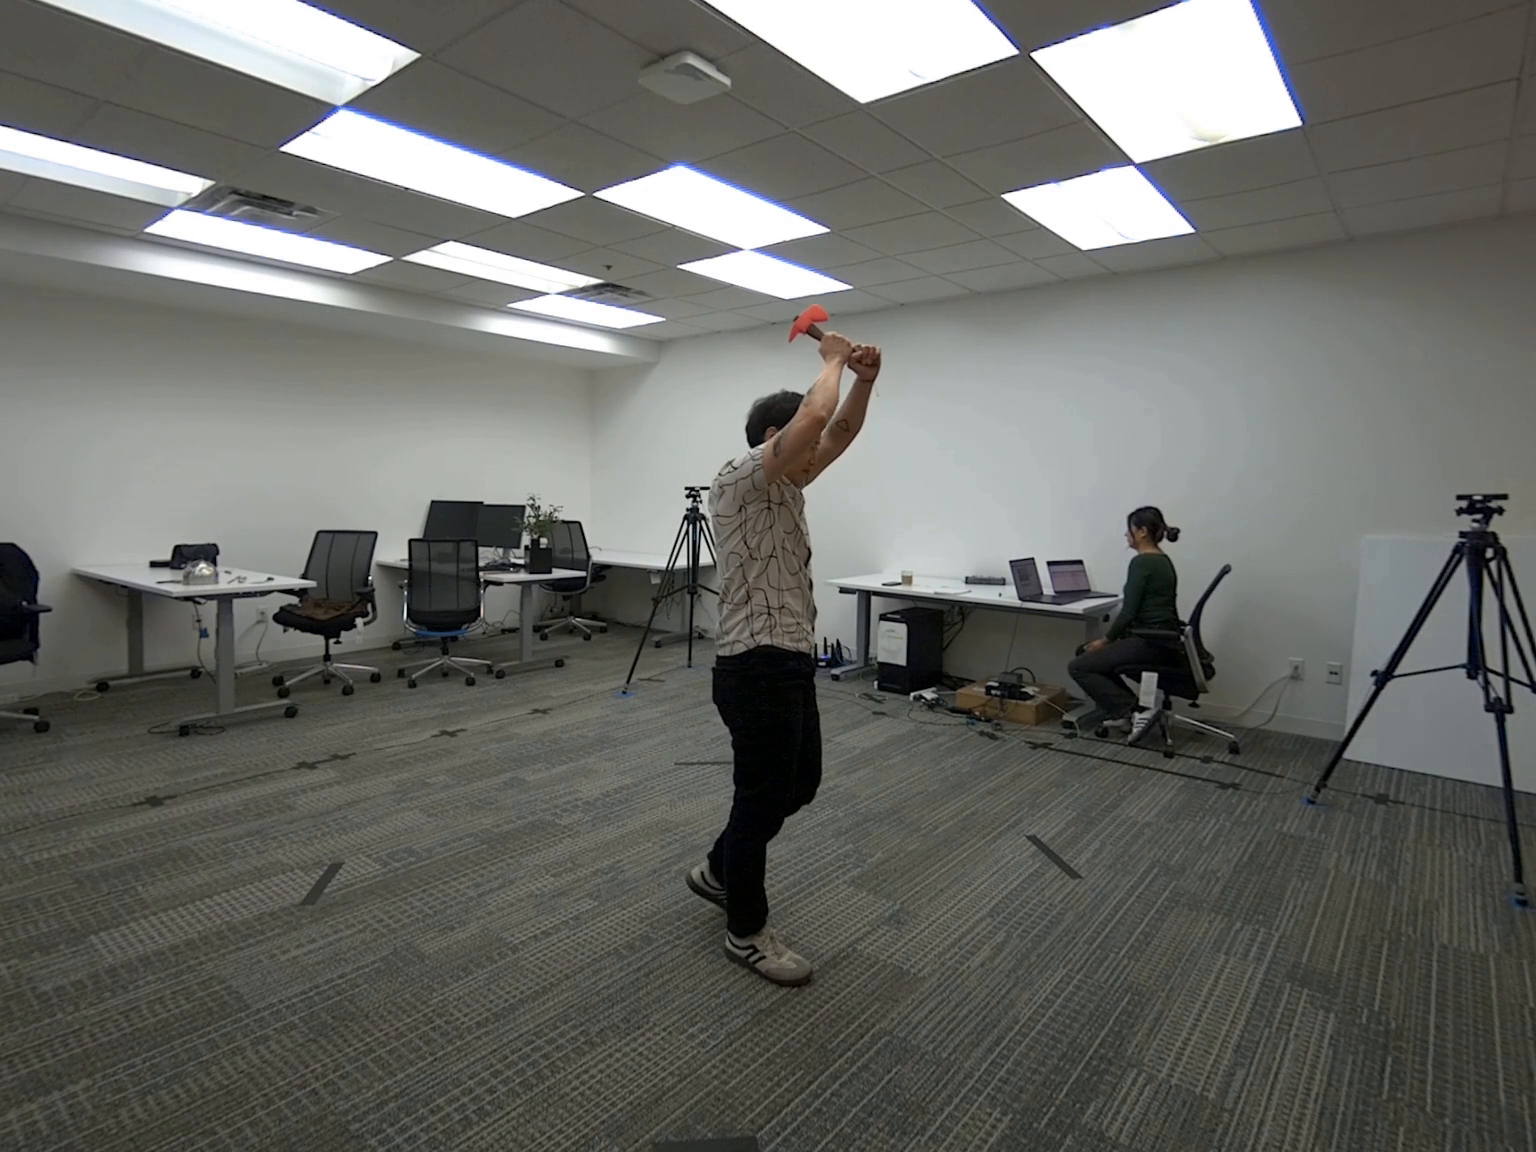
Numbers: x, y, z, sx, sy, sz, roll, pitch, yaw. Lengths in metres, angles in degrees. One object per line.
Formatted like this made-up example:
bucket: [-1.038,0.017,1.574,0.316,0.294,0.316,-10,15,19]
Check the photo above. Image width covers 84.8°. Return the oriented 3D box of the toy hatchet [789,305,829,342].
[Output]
toy hatchet: [0.201,-0.699,2.429,0.273,0.131,0.029,17,-6,8]
